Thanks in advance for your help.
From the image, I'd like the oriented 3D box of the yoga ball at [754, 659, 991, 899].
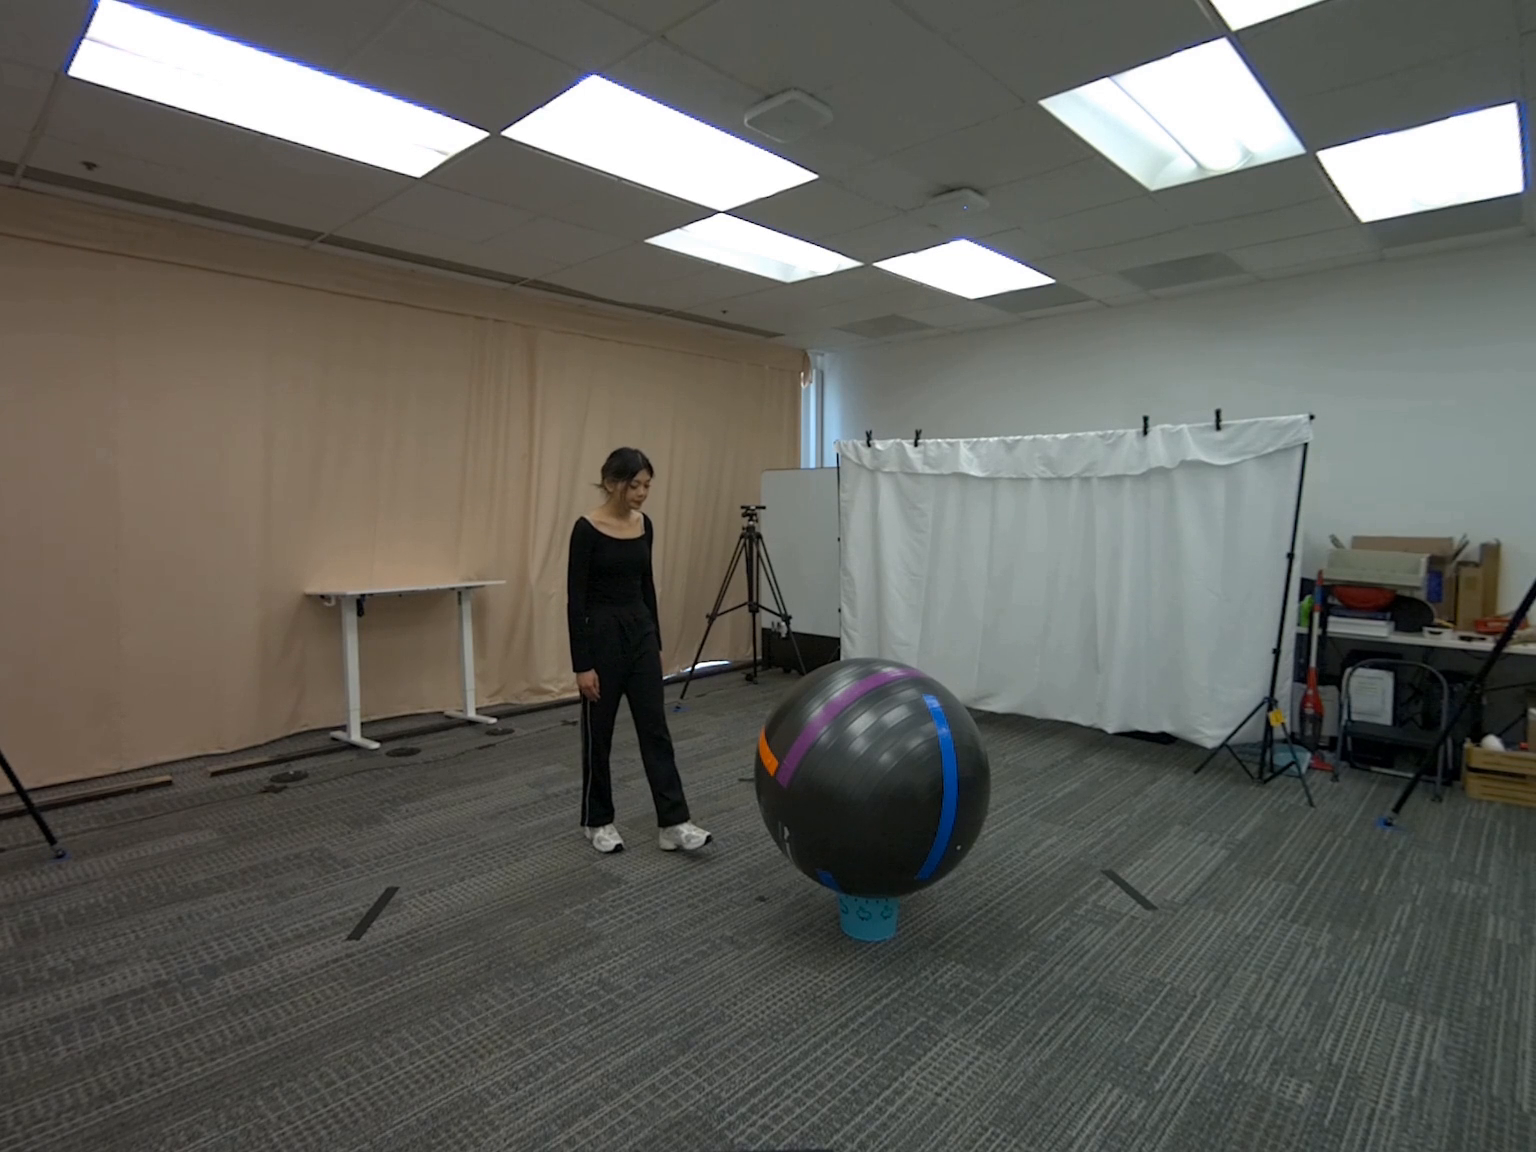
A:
[{"bbox_3d":[0.338,0.649,2.762,0.757,0.756,0.760,0,4,-2],"label":"yoga ball"}]
